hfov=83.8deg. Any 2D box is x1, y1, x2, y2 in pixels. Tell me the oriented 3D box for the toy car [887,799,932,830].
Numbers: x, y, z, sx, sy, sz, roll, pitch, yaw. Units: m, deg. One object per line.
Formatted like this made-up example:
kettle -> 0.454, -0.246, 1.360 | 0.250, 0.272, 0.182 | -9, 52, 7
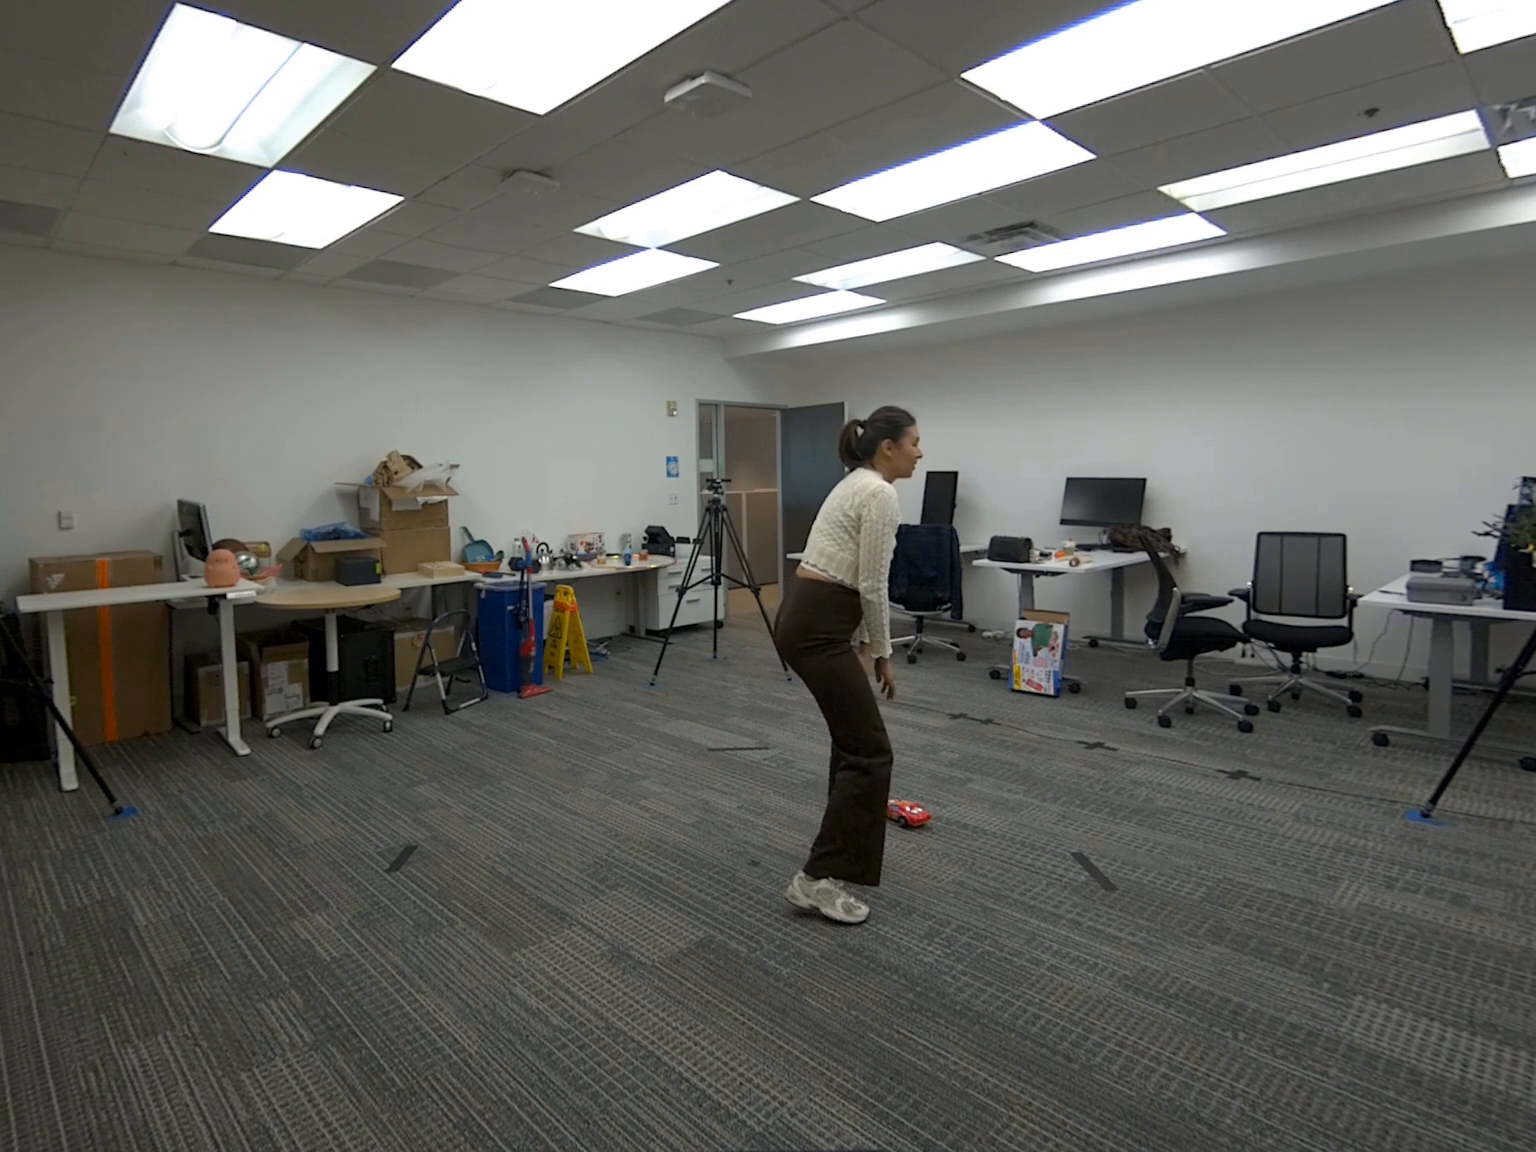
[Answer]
toy car -> 0.552, 0.960, 3.468 | 0.127, 0.084, 0.259 | -3, -5, -34
